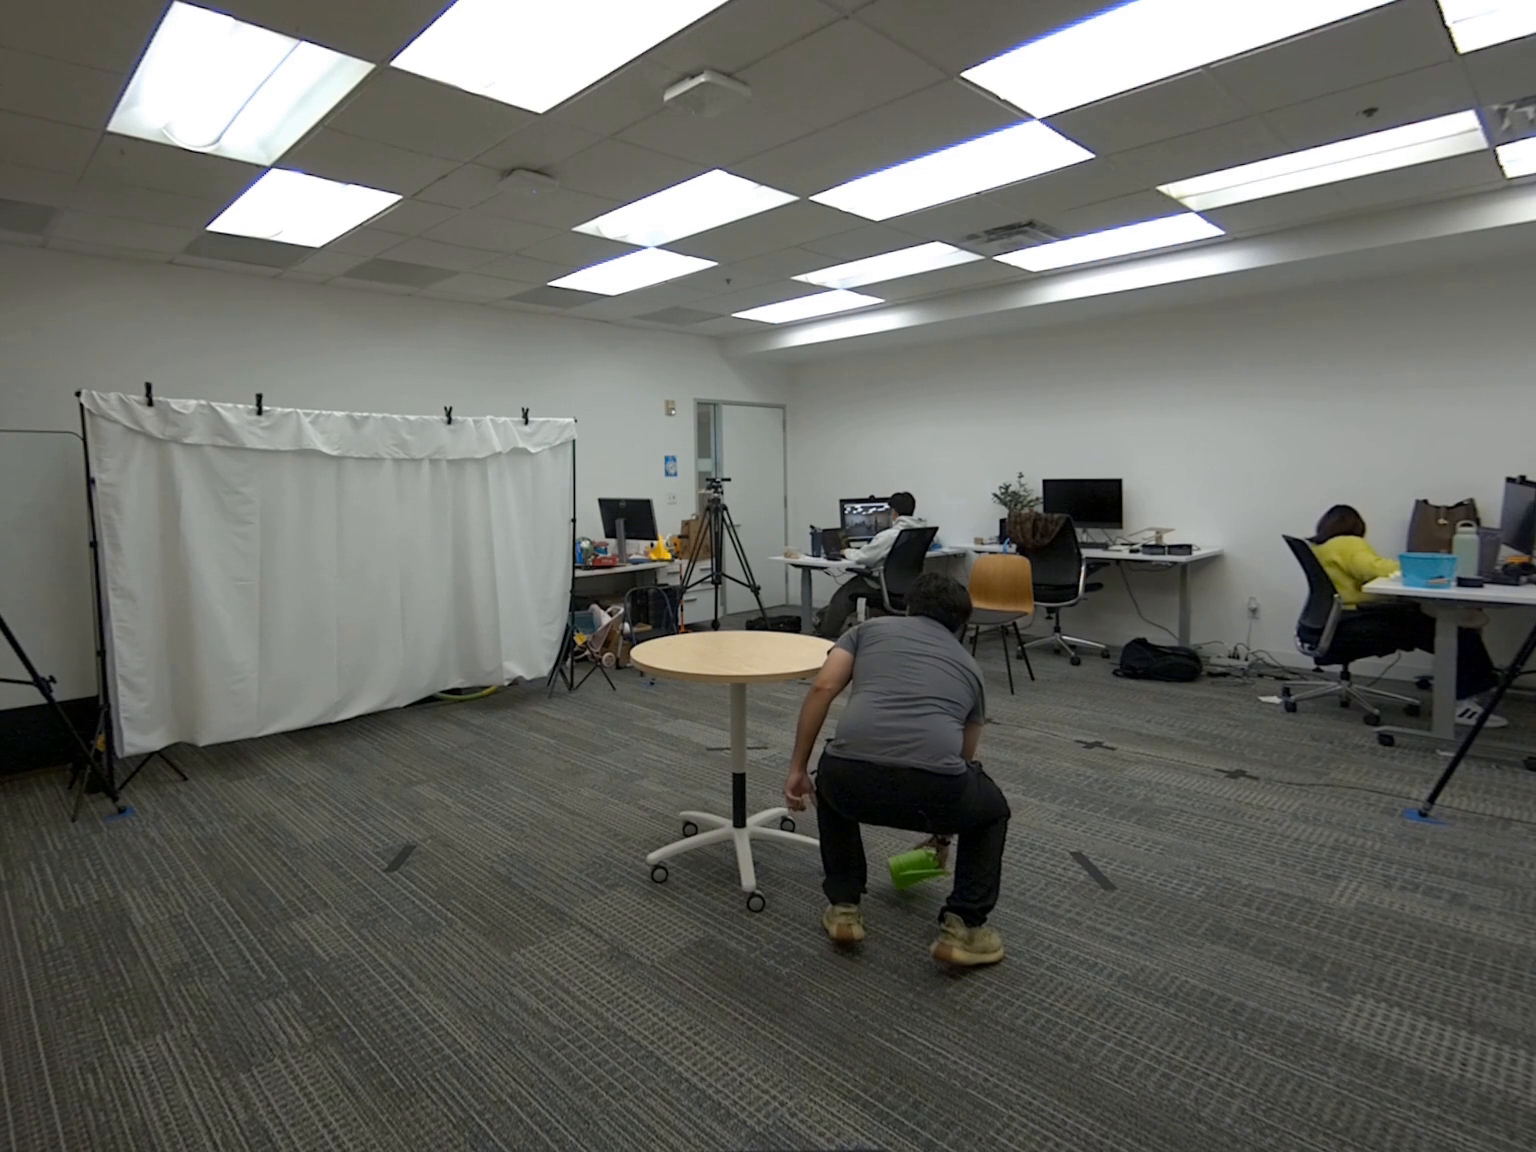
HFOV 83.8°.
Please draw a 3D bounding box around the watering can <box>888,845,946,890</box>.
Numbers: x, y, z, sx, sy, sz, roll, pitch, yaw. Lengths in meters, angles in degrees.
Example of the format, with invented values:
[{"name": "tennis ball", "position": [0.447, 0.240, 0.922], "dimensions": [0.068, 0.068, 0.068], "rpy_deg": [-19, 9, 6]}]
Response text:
[{"name": "watering can", "position": [0.494, 0.966, 2.825], "dimensions": [0.177, 0.100, 0.273], "rpy_deg": [-18, -15, 0]}]
